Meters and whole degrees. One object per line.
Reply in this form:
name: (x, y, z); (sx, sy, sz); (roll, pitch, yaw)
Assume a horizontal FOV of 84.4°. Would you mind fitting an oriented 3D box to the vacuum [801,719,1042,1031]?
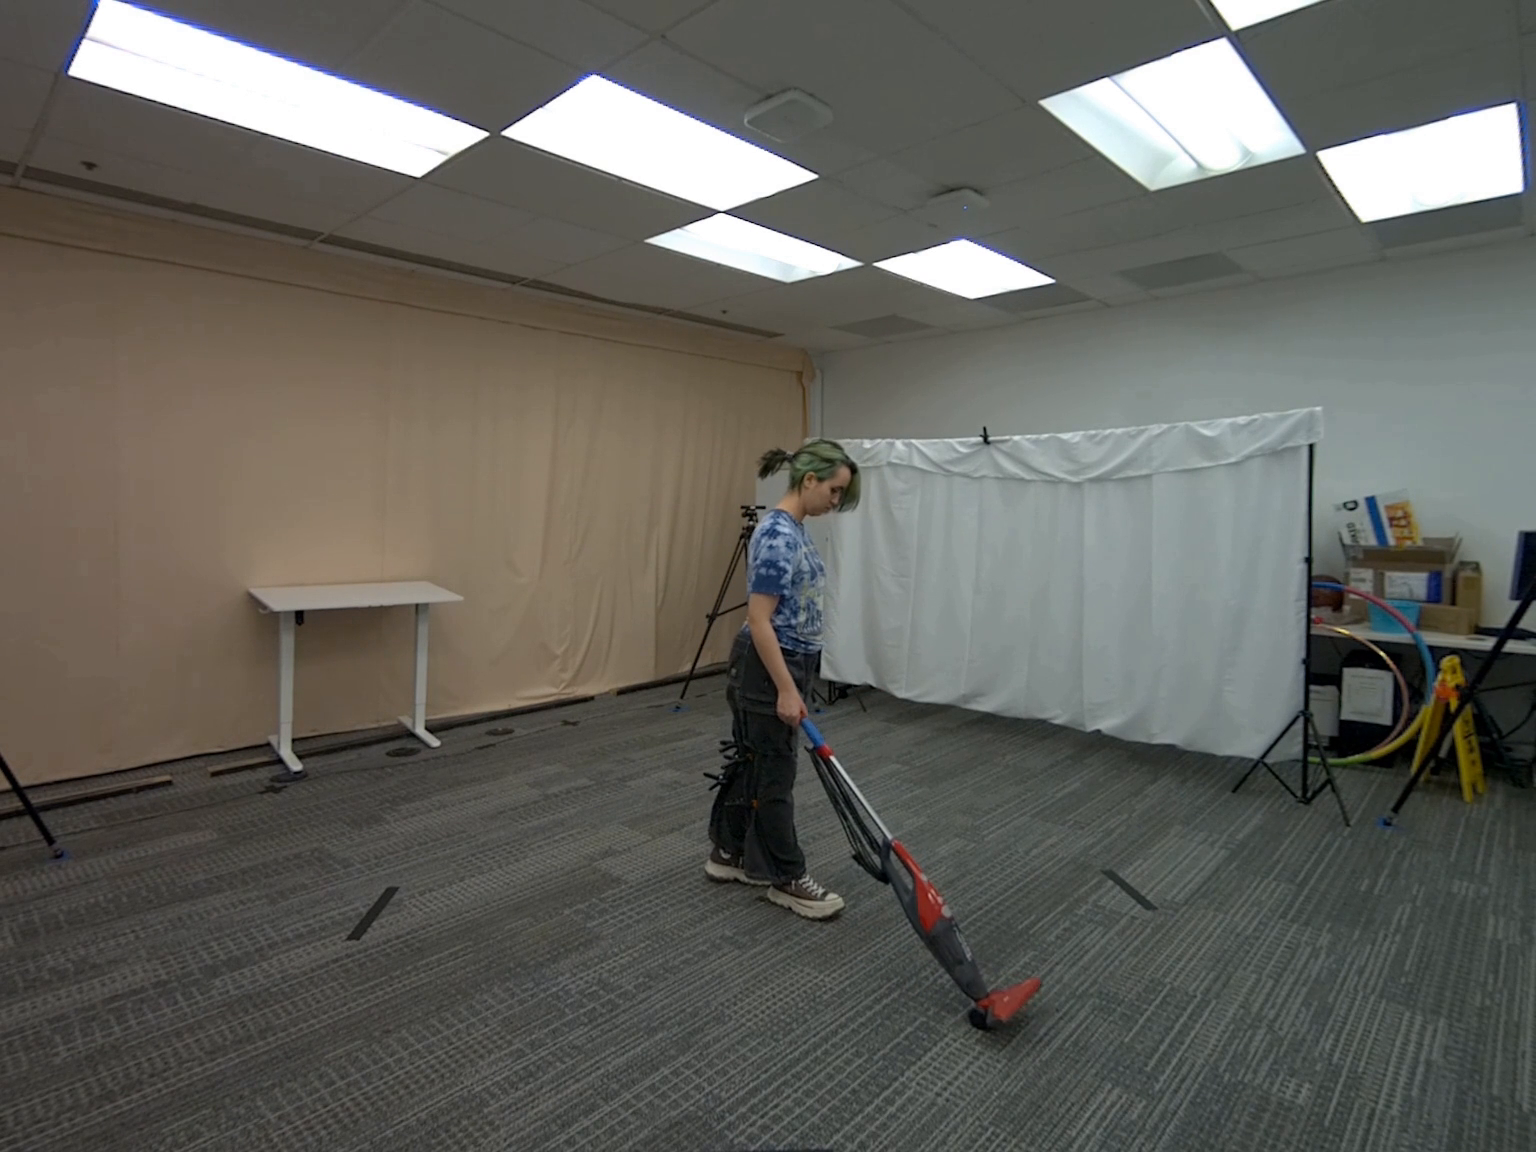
vacuum: (0.343, 0.804, 2.497); (0.245, 0.144, 1.080); (-2, 44, -49)
